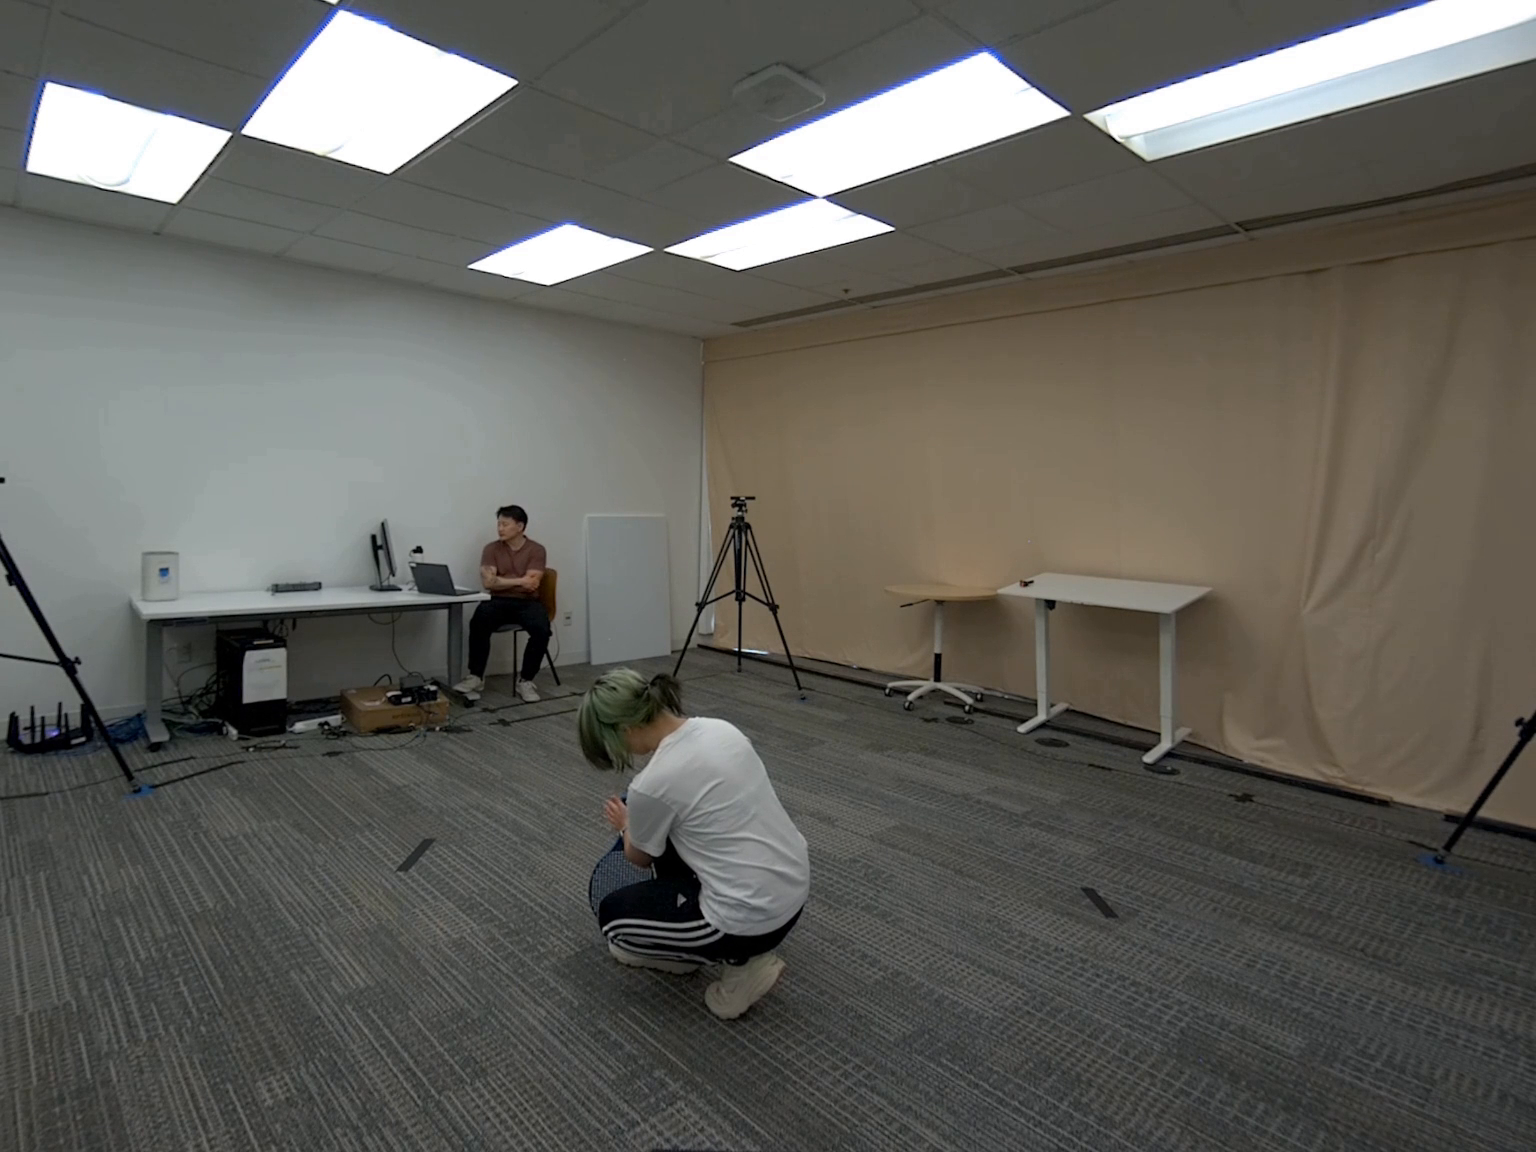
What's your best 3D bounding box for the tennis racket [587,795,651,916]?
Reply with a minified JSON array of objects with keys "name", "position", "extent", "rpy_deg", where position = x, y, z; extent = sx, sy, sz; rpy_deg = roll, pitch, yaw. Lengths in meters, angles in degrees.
[{"name":"tennis racket","position":[-0.473,0.924,2.697],"extent":[0.210,0.432,0.032],"rpy_deg":[1,3,-19]}]
